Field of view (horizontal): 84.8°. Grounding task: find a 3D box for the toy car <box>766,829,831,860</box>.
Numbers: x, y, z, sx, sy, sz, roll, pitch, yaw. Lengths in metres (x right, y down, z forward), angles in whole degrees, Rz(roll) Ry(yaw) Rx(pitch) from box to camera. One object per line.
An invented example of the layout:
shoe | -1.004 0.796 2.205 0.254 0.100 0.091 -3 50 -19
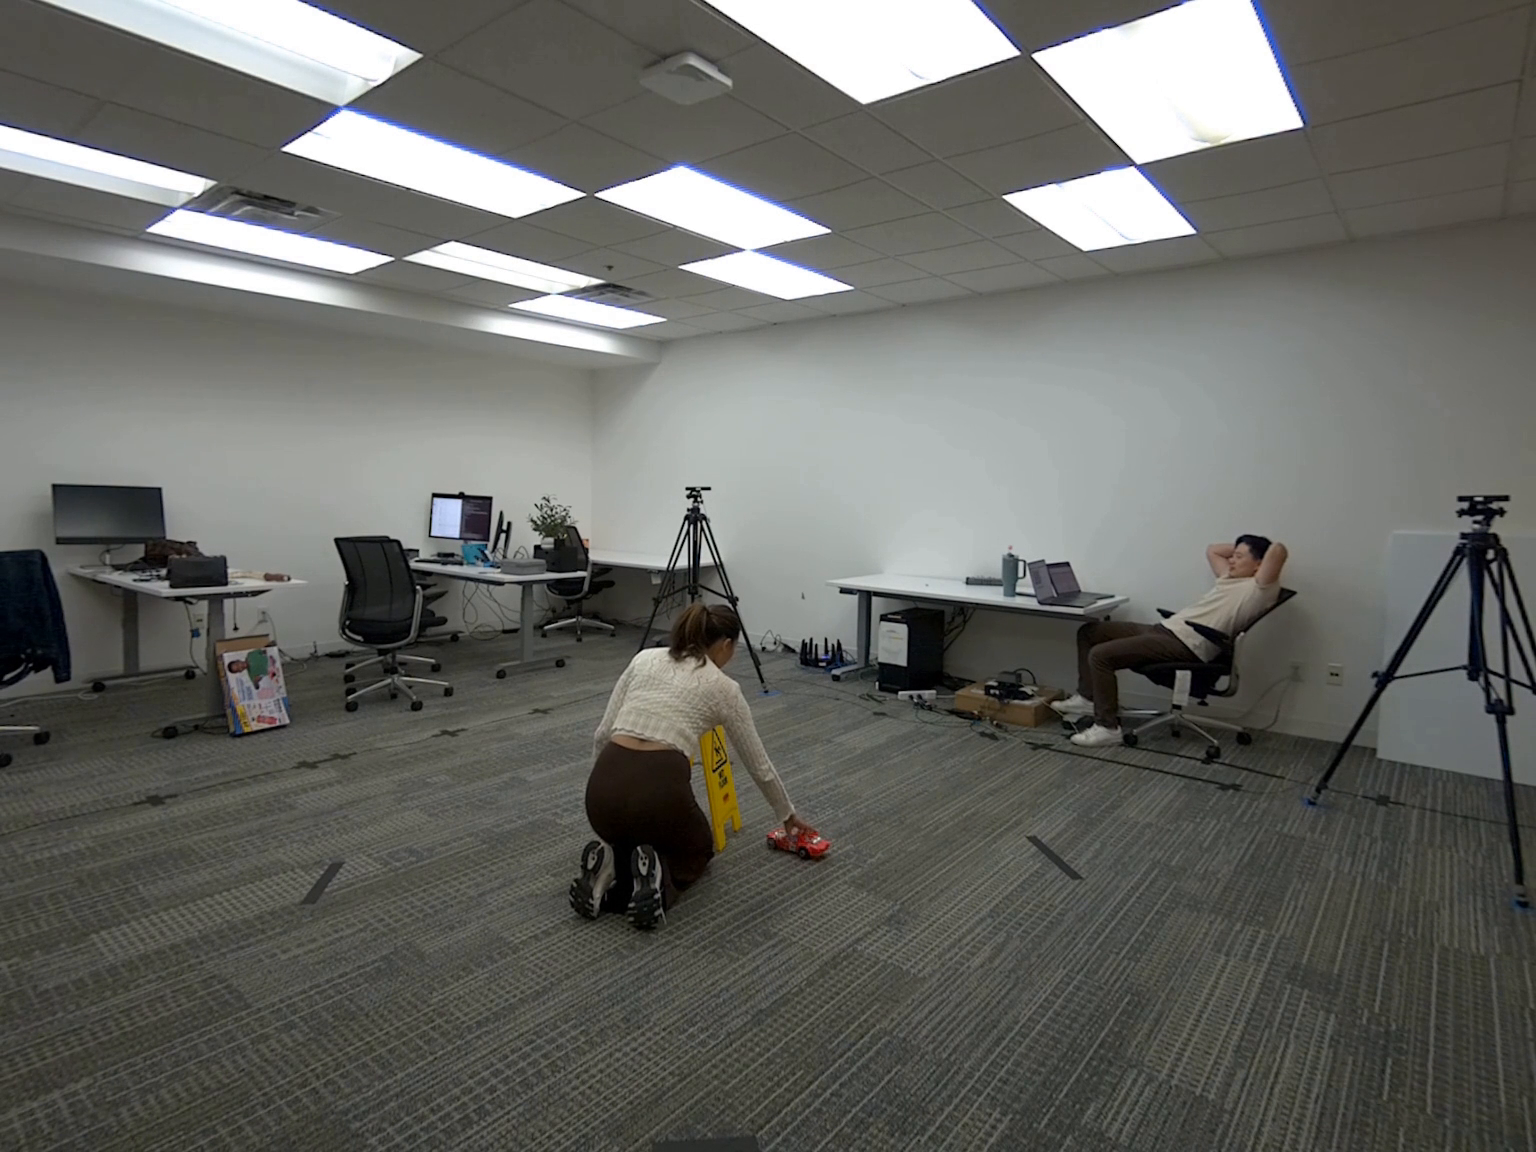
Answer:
toy car | 0.113 1.026 3.265 0.261 0.083 0.126 -7 -1 36
